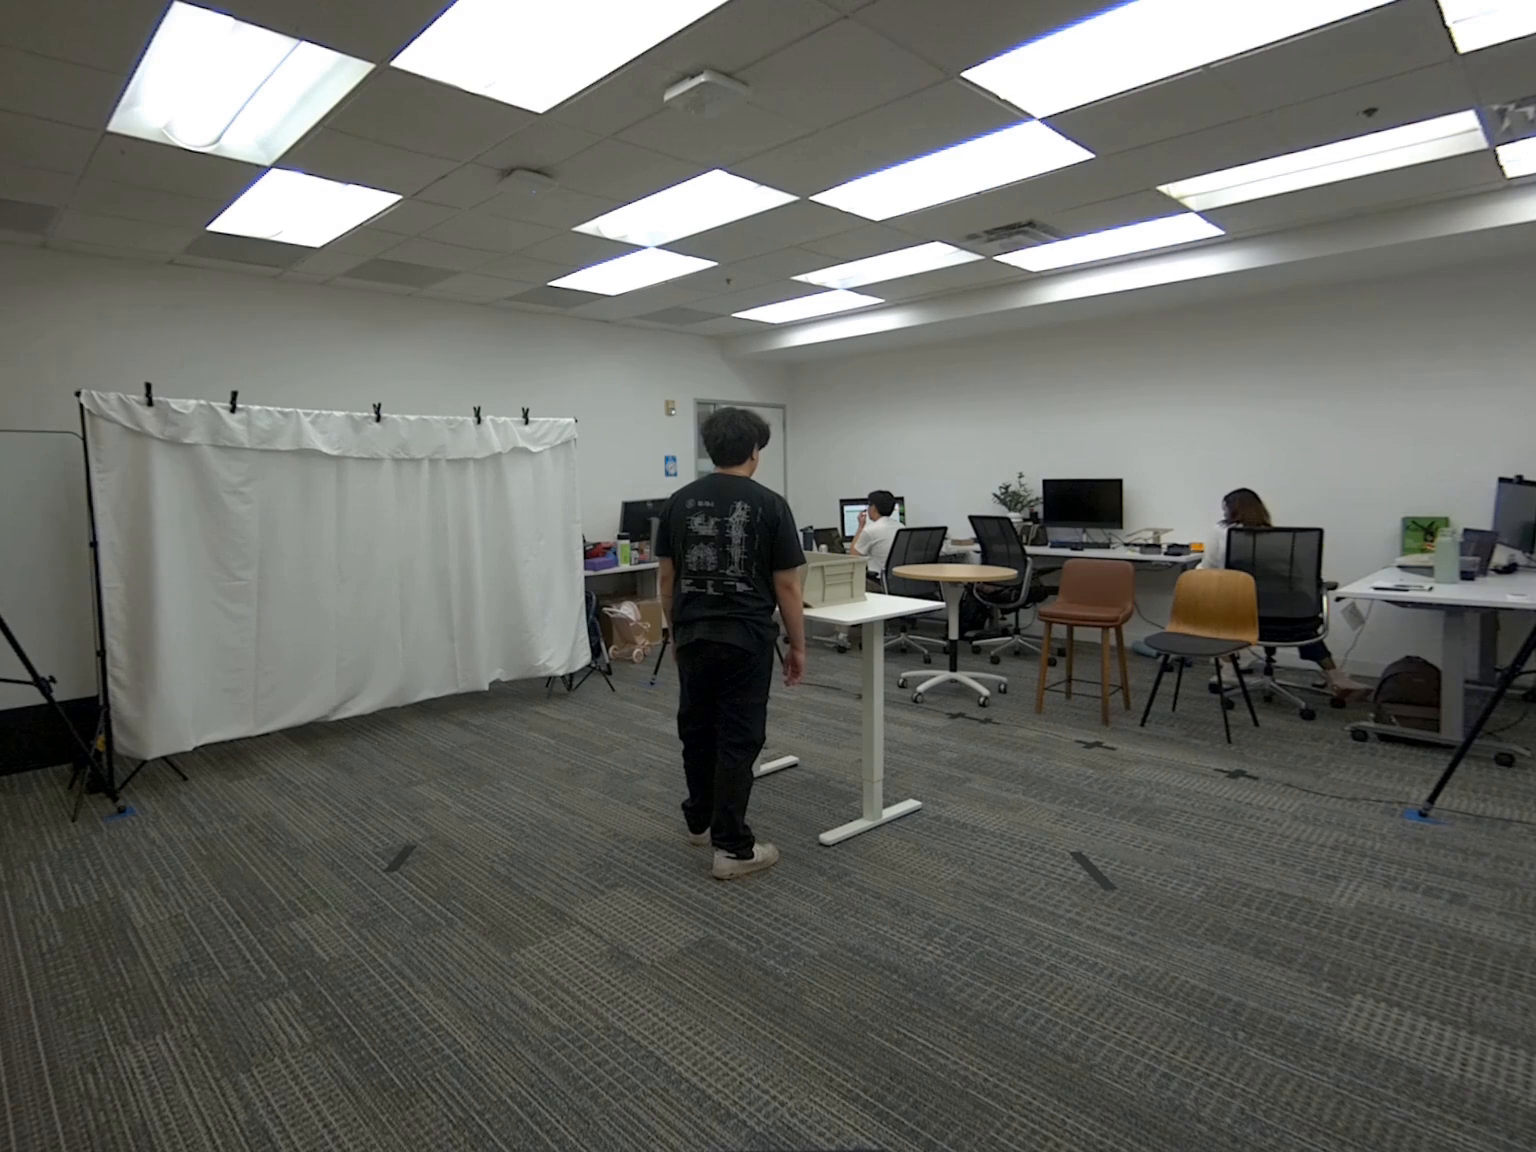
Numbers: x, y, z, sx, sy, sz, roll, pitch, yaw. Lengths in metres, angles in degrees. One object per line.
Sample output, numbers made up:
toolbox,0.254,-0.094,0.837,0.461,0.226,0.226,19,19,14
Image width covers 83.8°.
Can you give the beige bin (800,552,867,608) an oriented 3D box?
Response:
beige bin,0.152,0.013,3.607,0.367,0.188,0.435,-5,7,-38
